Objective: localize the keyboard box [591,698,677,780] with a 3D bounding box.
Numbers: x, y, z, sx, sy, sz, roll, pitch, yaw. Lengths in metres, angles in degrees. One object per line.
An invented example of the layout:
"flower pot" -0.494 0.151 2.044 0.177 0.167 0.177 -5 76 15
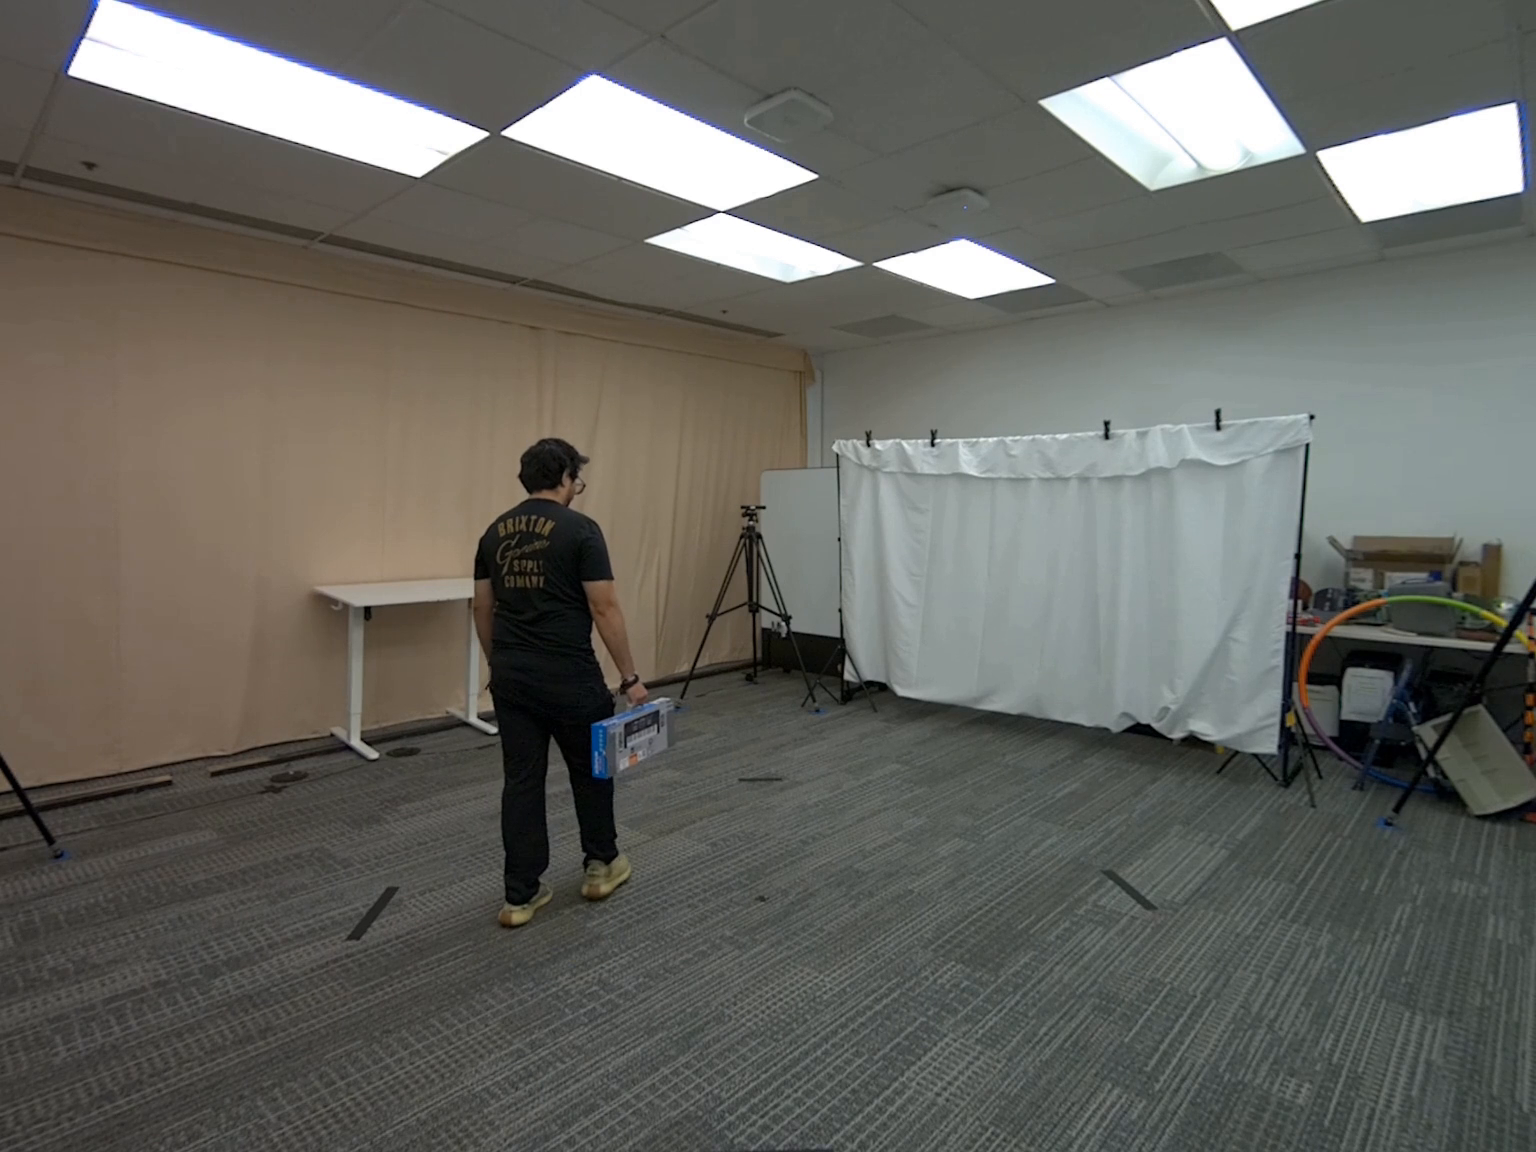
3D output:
"keyboard box" -0.453 0.554 2.905 0.060 0.175 0.426 1 4 25
